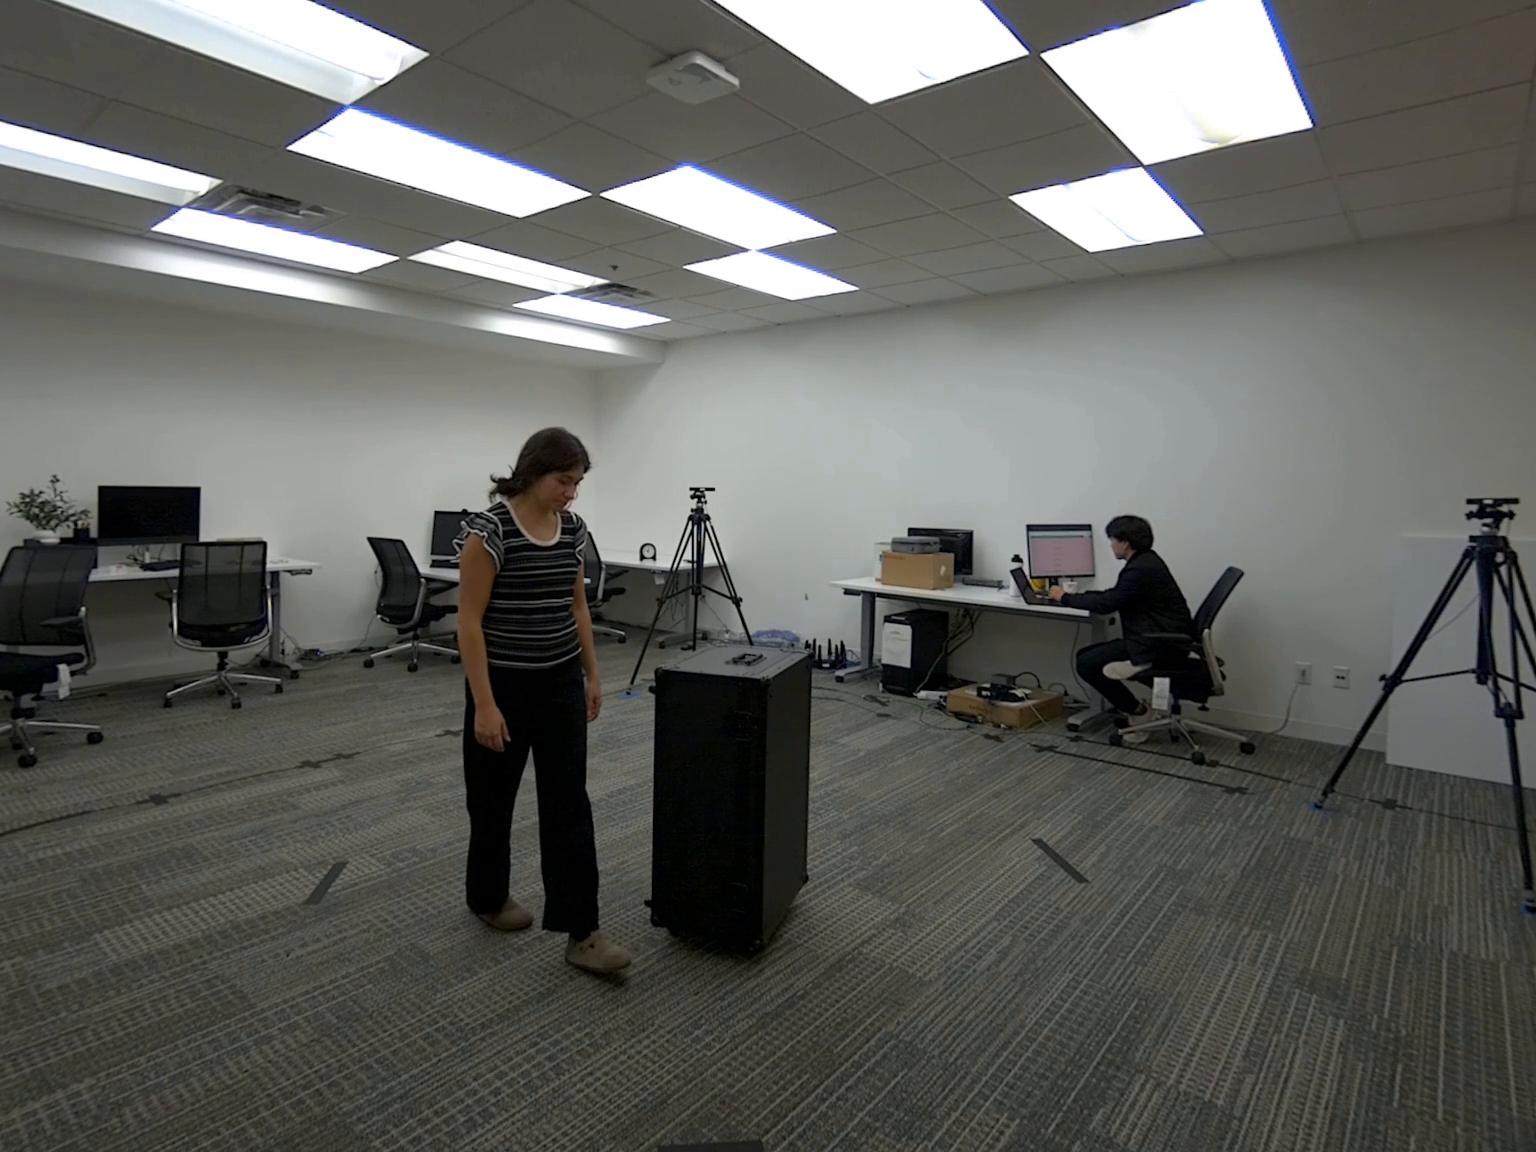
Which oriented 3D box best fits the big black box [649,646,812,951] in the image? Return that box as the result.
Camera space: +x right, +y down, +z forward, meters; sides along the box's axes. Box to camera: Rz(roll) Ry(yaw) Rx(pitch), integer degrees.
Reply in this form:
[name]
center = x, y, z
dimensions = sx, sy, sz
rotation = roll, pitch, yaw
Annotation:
[big black box]
center = -0.123, 0.684, 2.694
dimensions = 0.405, 0.859, 0.512
rotation = 2, 4, 20
